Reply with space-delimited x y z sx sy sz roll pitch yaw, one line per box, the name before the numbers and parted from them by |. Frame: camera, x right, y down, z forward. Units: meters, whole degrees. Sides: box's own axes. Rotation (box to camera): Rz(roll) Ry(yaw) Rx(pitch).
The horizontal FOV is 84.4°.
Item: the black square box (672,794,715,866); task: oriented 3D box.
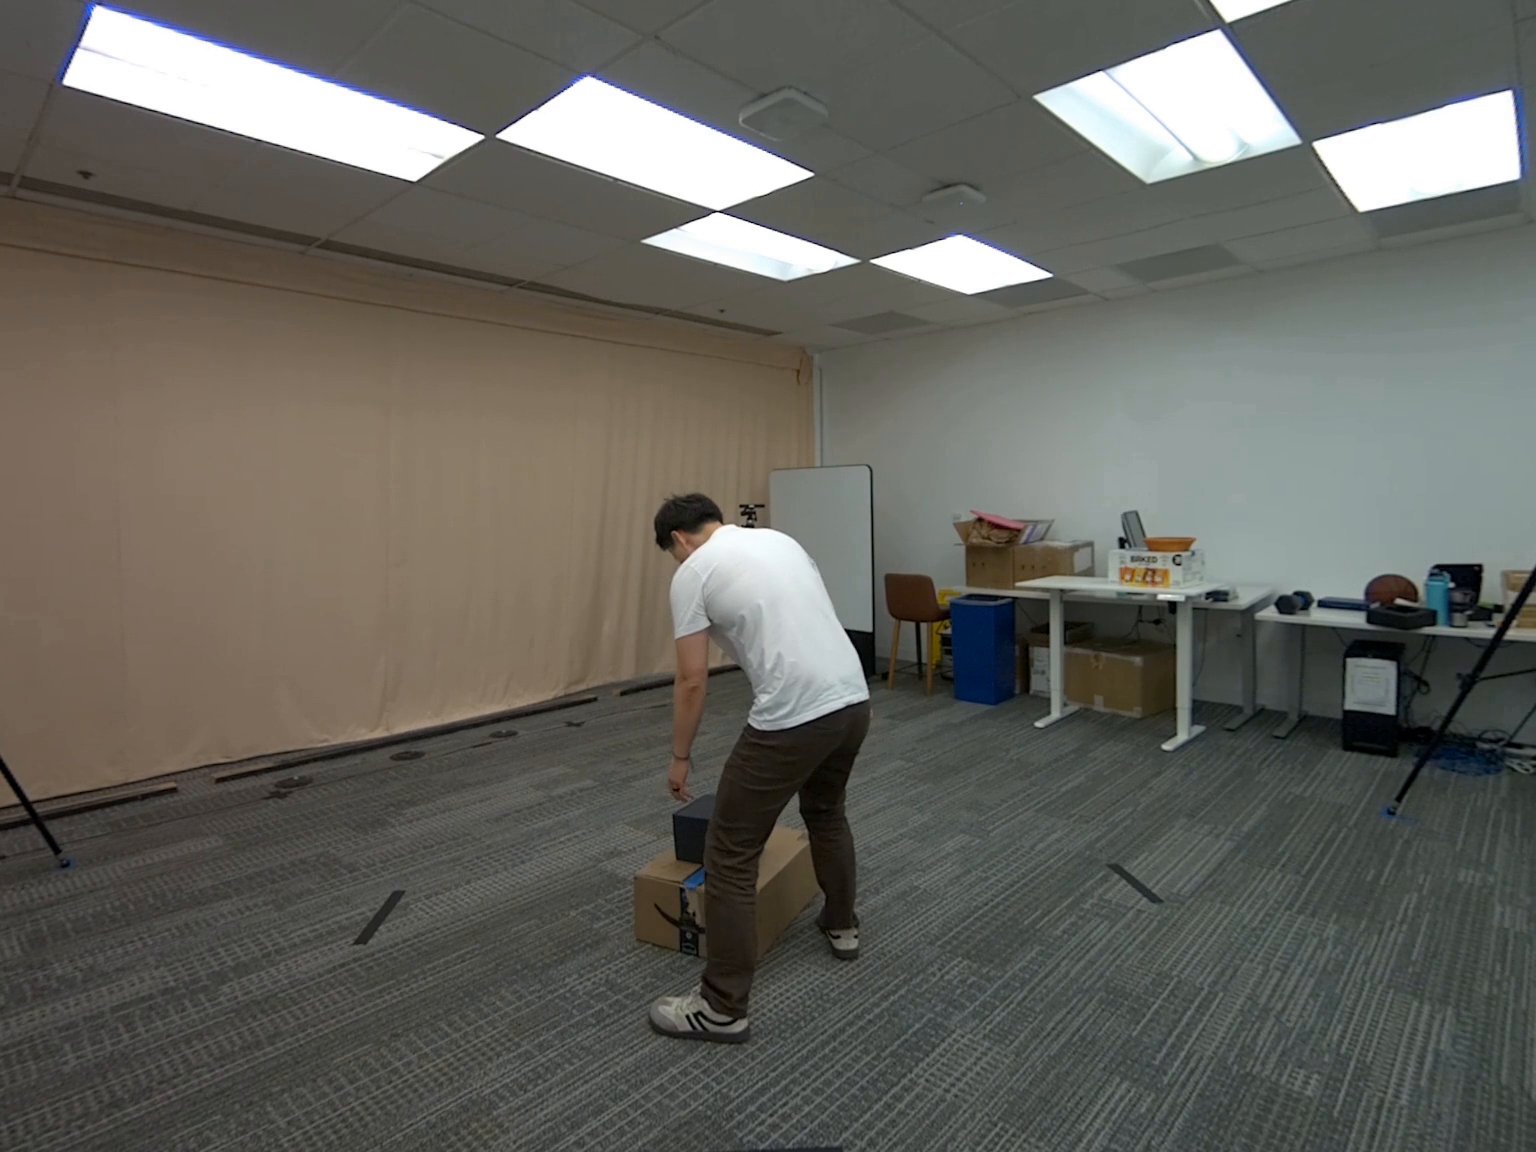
black square box | -0.162 0.856 2.833 0.234 0.155 0.211 -1 4 29
